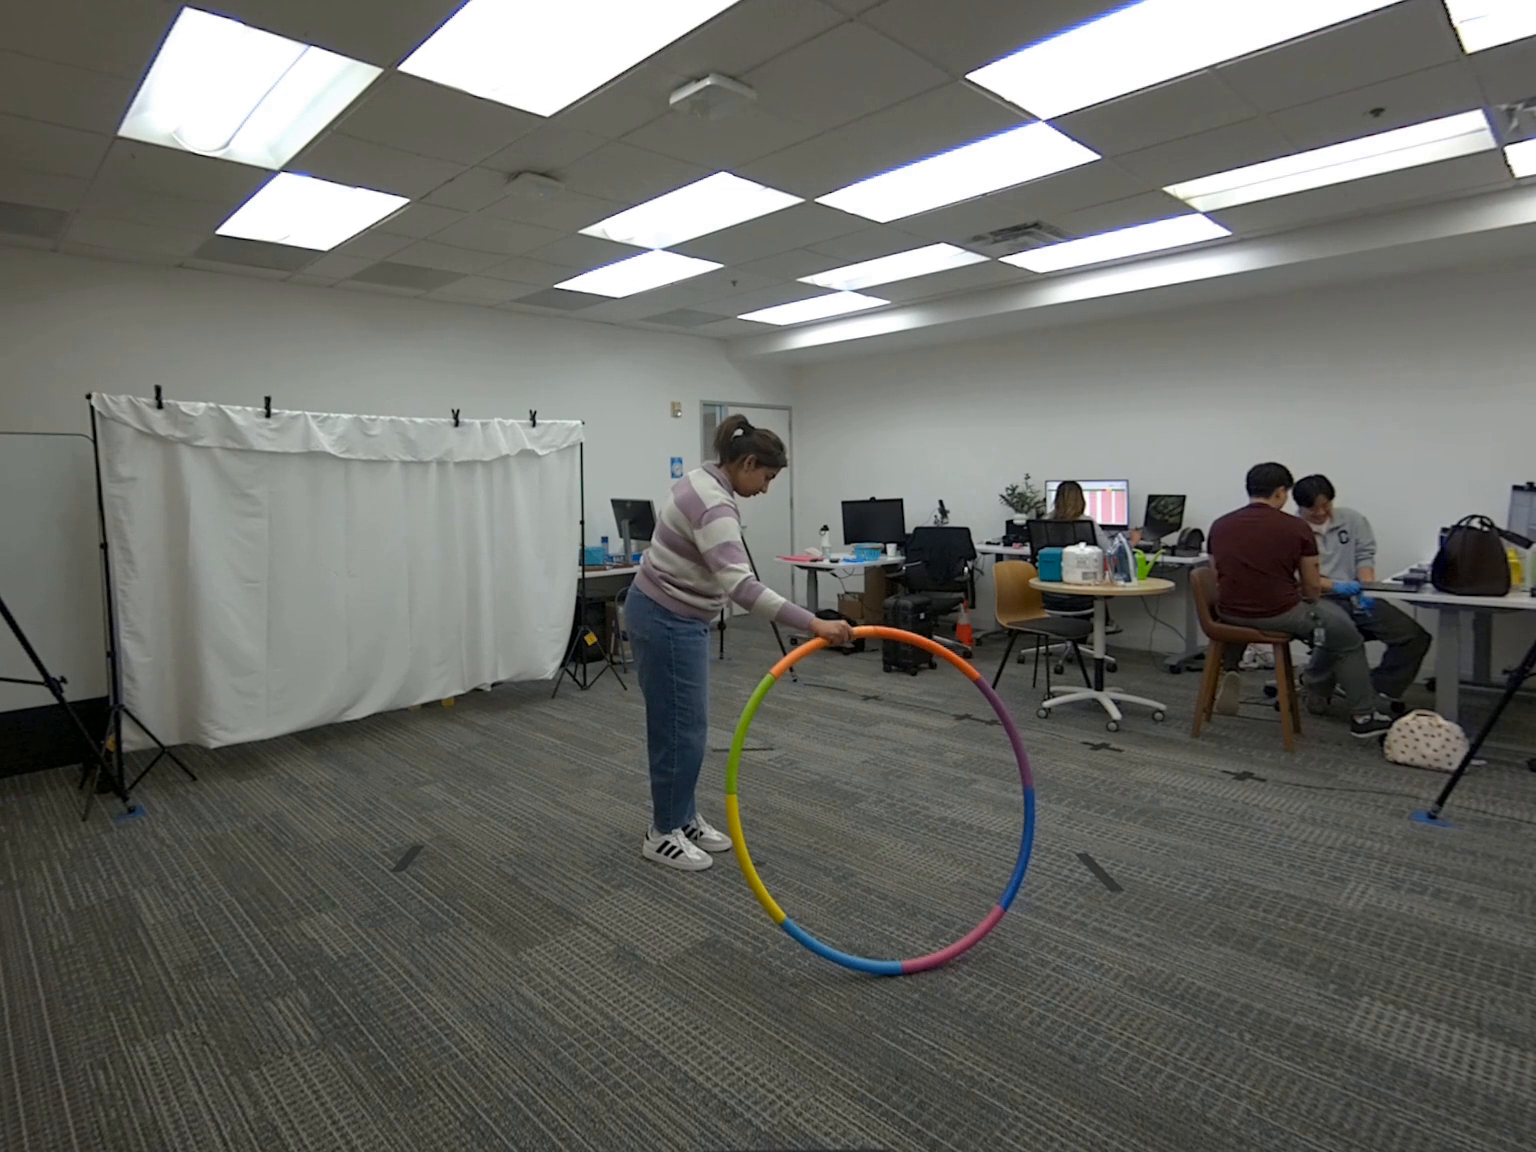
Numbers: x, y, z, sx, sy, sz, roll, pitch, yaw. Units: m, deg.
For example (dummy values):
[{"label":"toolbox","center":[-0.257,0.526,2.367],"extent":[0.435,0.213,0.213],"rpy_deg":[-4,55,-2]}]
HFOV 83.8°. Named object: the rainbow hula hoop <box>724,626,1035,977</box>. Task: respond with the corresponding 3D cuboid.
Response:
[{"label":"rainbow hula hoop","center":[0.350,0.639,2.557],"extent":[0.966,0.996,0.035],"rpy_deg":[-3,-18,-14]}]
